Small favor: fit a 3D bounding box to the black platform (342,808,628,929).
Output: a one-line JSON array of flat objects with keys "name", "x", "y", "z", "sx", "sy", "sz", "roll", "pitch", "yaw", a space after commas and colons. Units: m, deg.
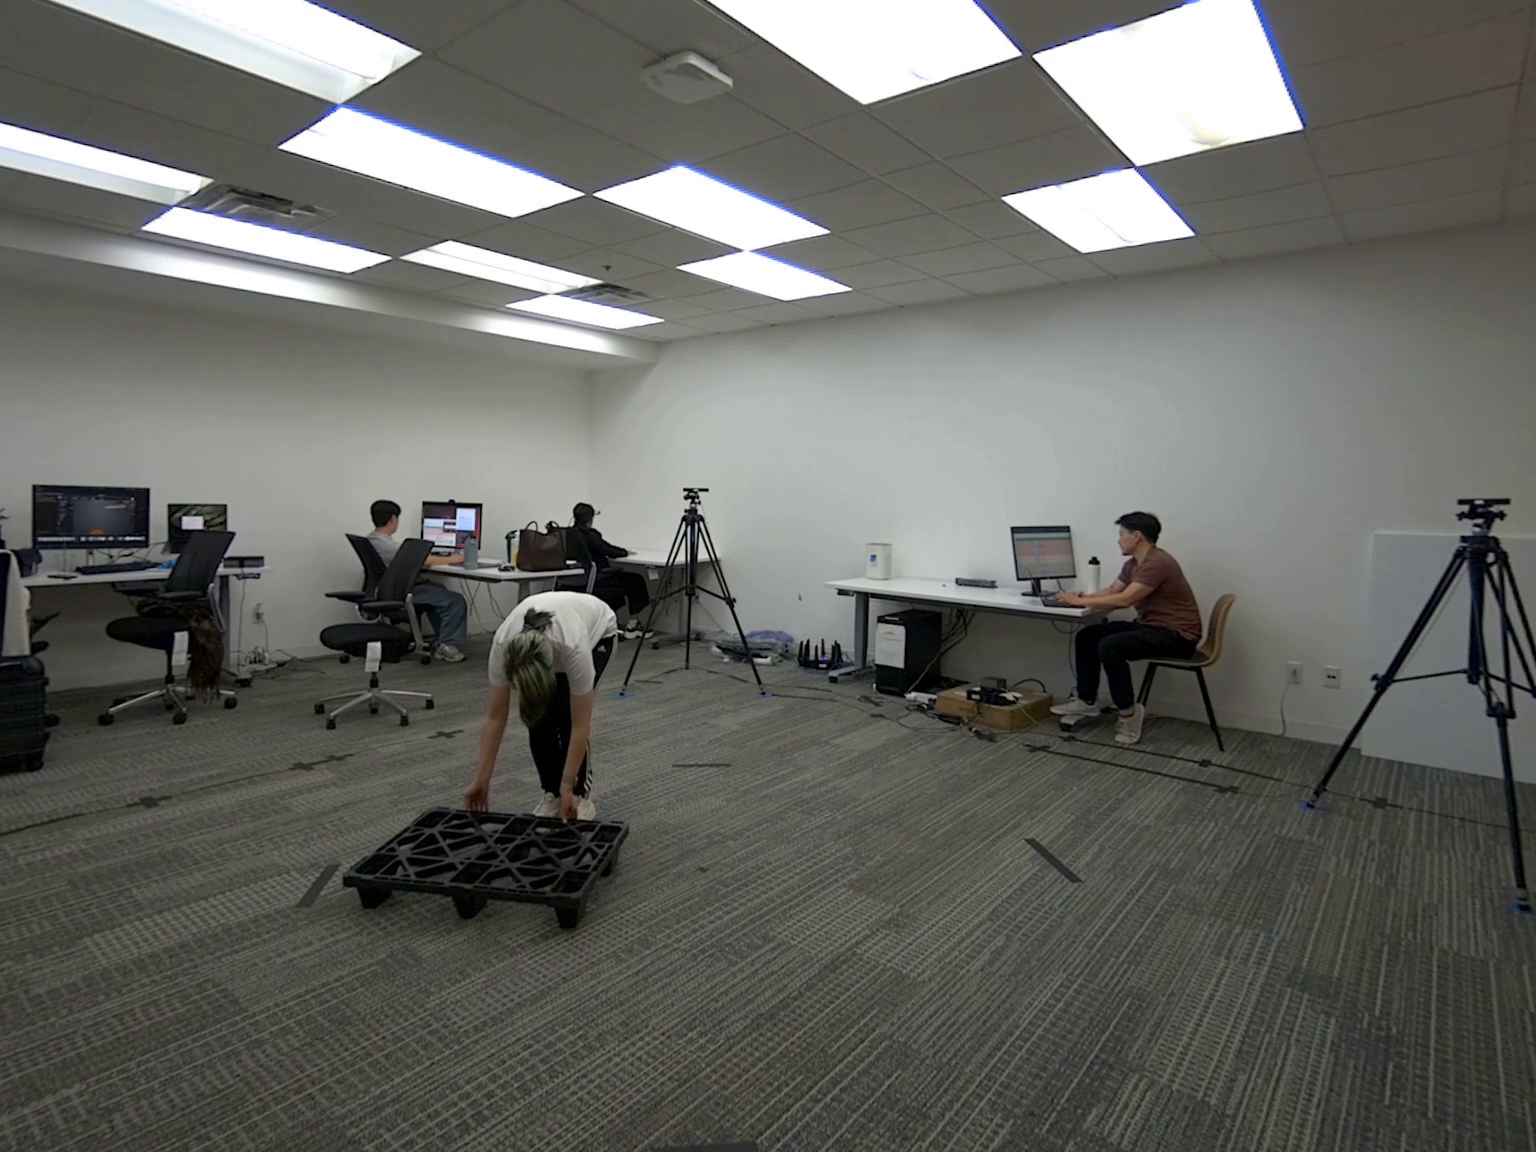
[{"name": "black platform", "x": -0.951, "y": 1.003, "z": 2.953, "sx": 0.814, "sy": 0.142, "sz": 0.602, "roll": 1, "pitch": 7, "yaw": 8}]
